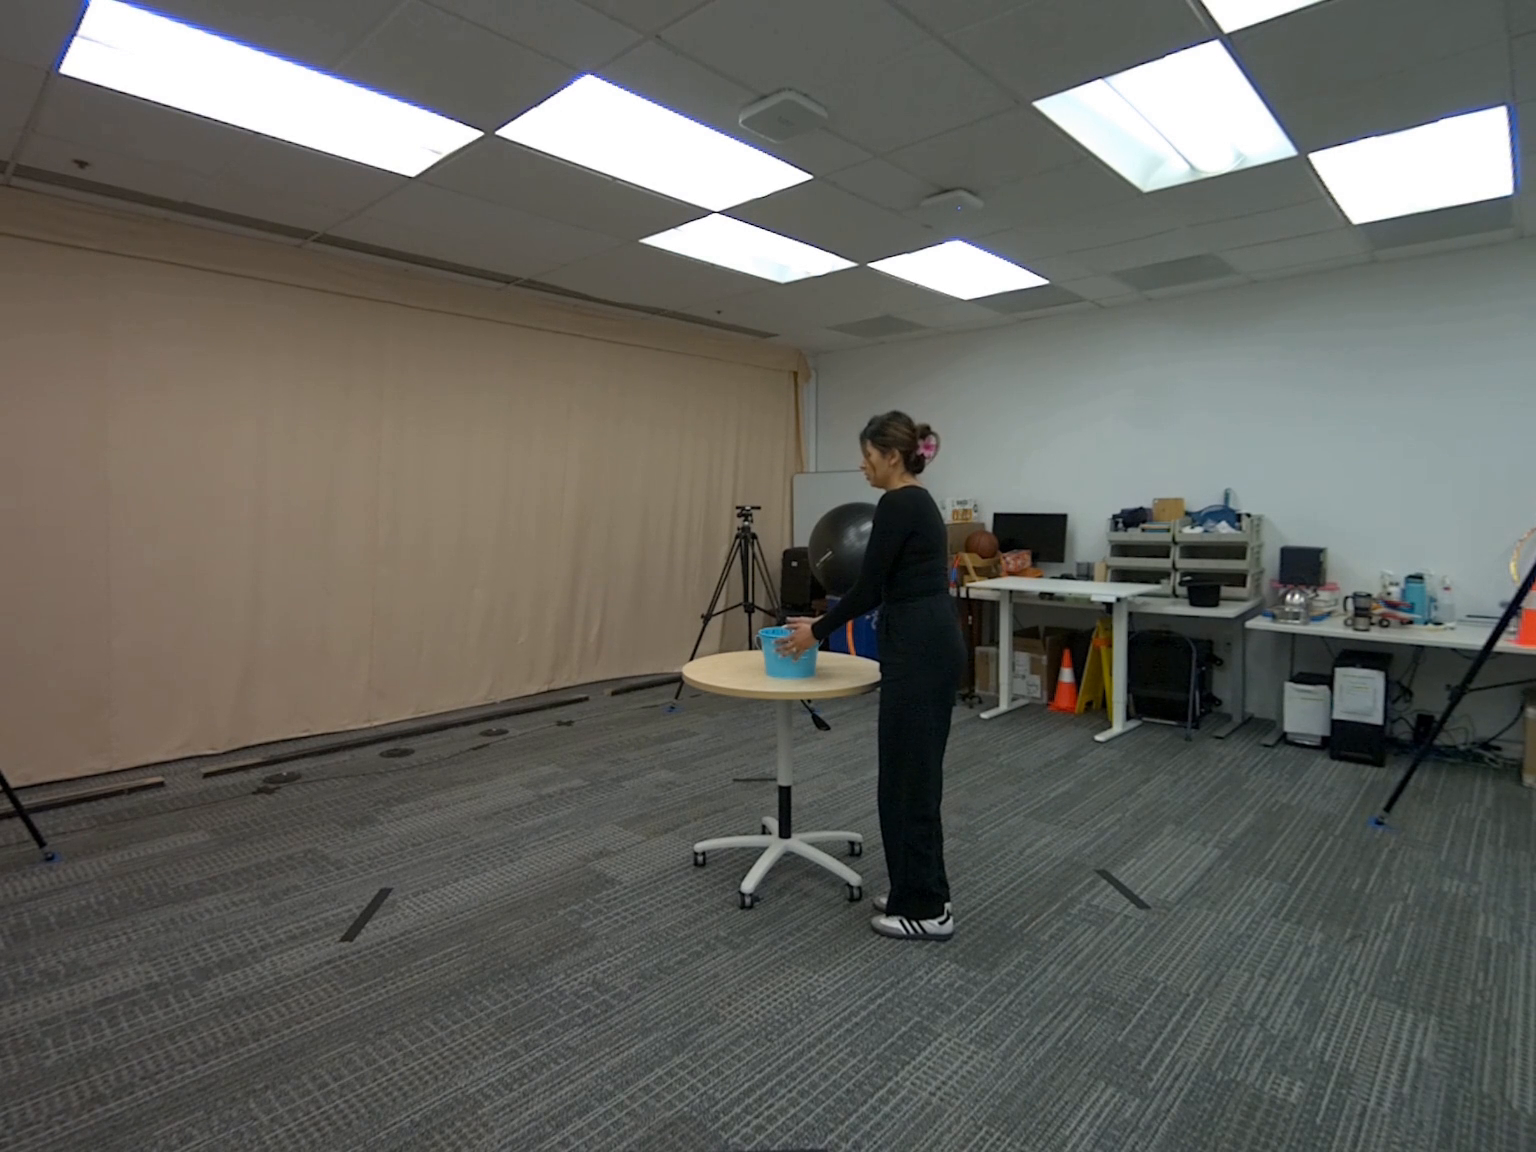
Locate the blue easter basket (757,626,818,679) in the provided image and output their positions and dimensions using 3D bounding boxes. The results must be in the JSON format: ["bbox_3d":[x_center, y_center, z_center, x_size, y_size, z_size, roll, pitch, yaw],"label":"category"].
[{"bbox_3d":[0.092,0.280,3.069,0.243,0.155,0.245,1,6,-2],"label":"blue easter basket"}]
